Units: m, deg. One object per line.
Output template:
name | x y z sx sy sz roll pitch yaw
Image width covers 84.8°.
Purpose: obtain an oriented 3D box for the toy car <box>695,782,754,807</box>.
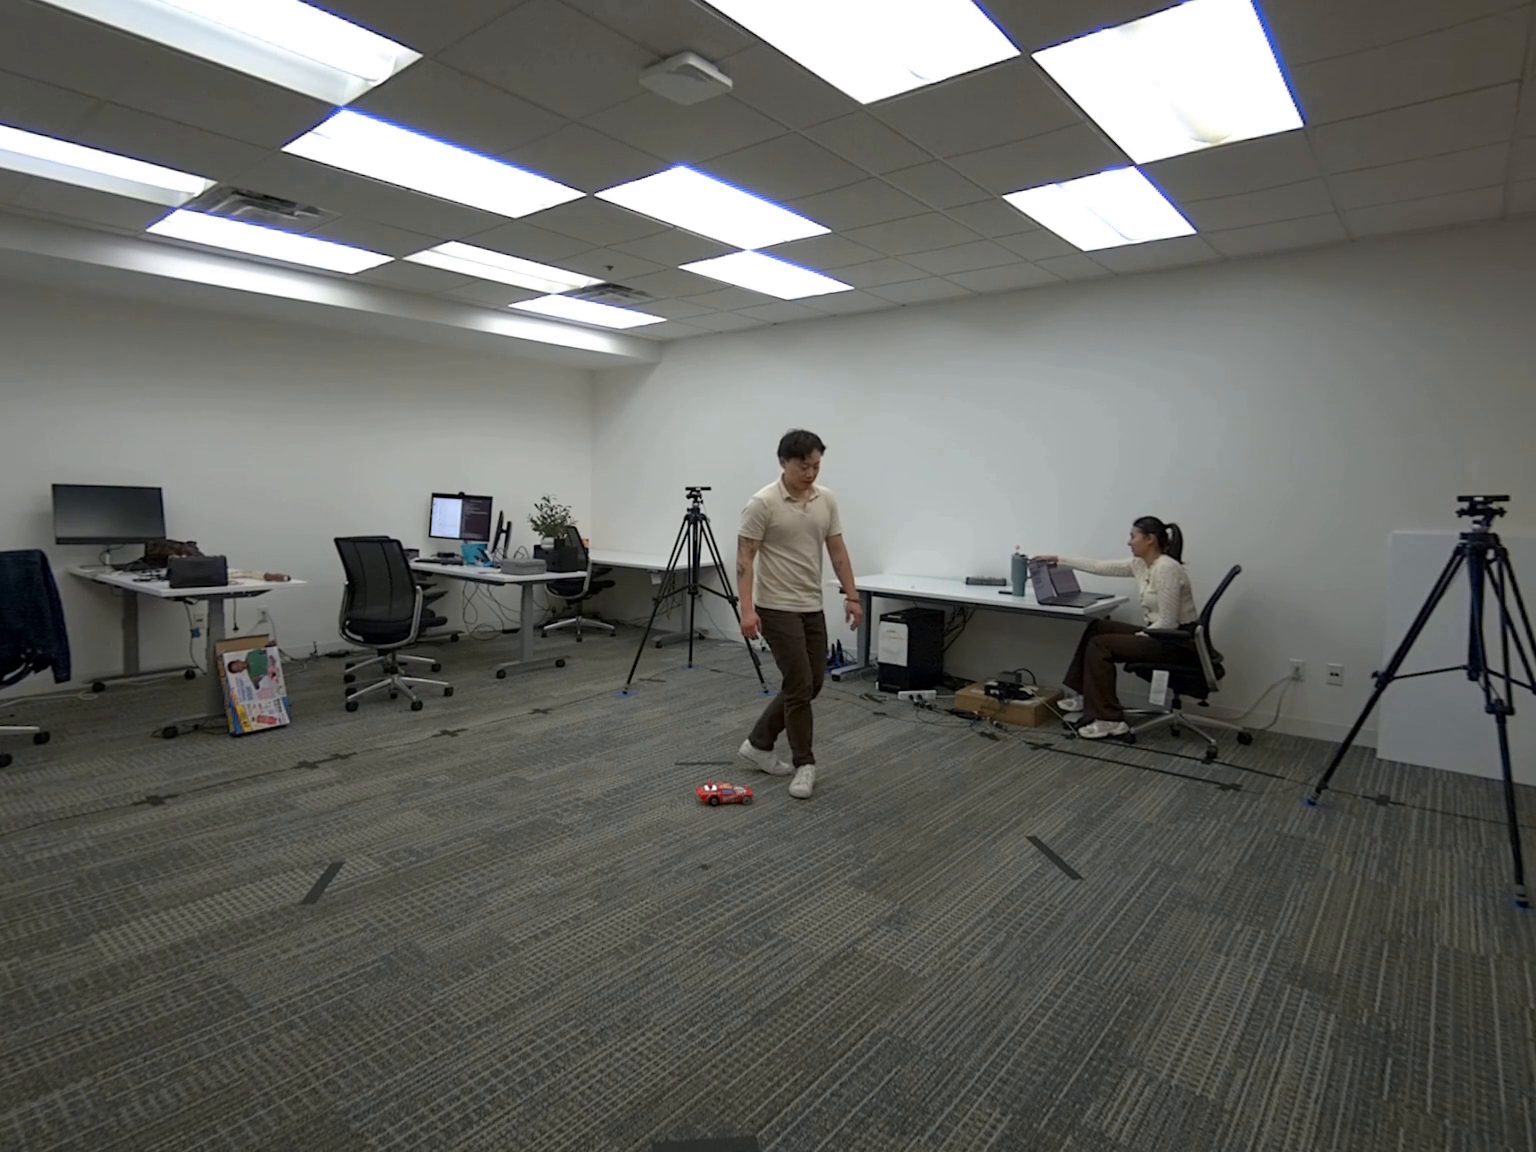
toy car | -0.210 0.968 3.780 0.251 0.083 0.132 11 2 -11
